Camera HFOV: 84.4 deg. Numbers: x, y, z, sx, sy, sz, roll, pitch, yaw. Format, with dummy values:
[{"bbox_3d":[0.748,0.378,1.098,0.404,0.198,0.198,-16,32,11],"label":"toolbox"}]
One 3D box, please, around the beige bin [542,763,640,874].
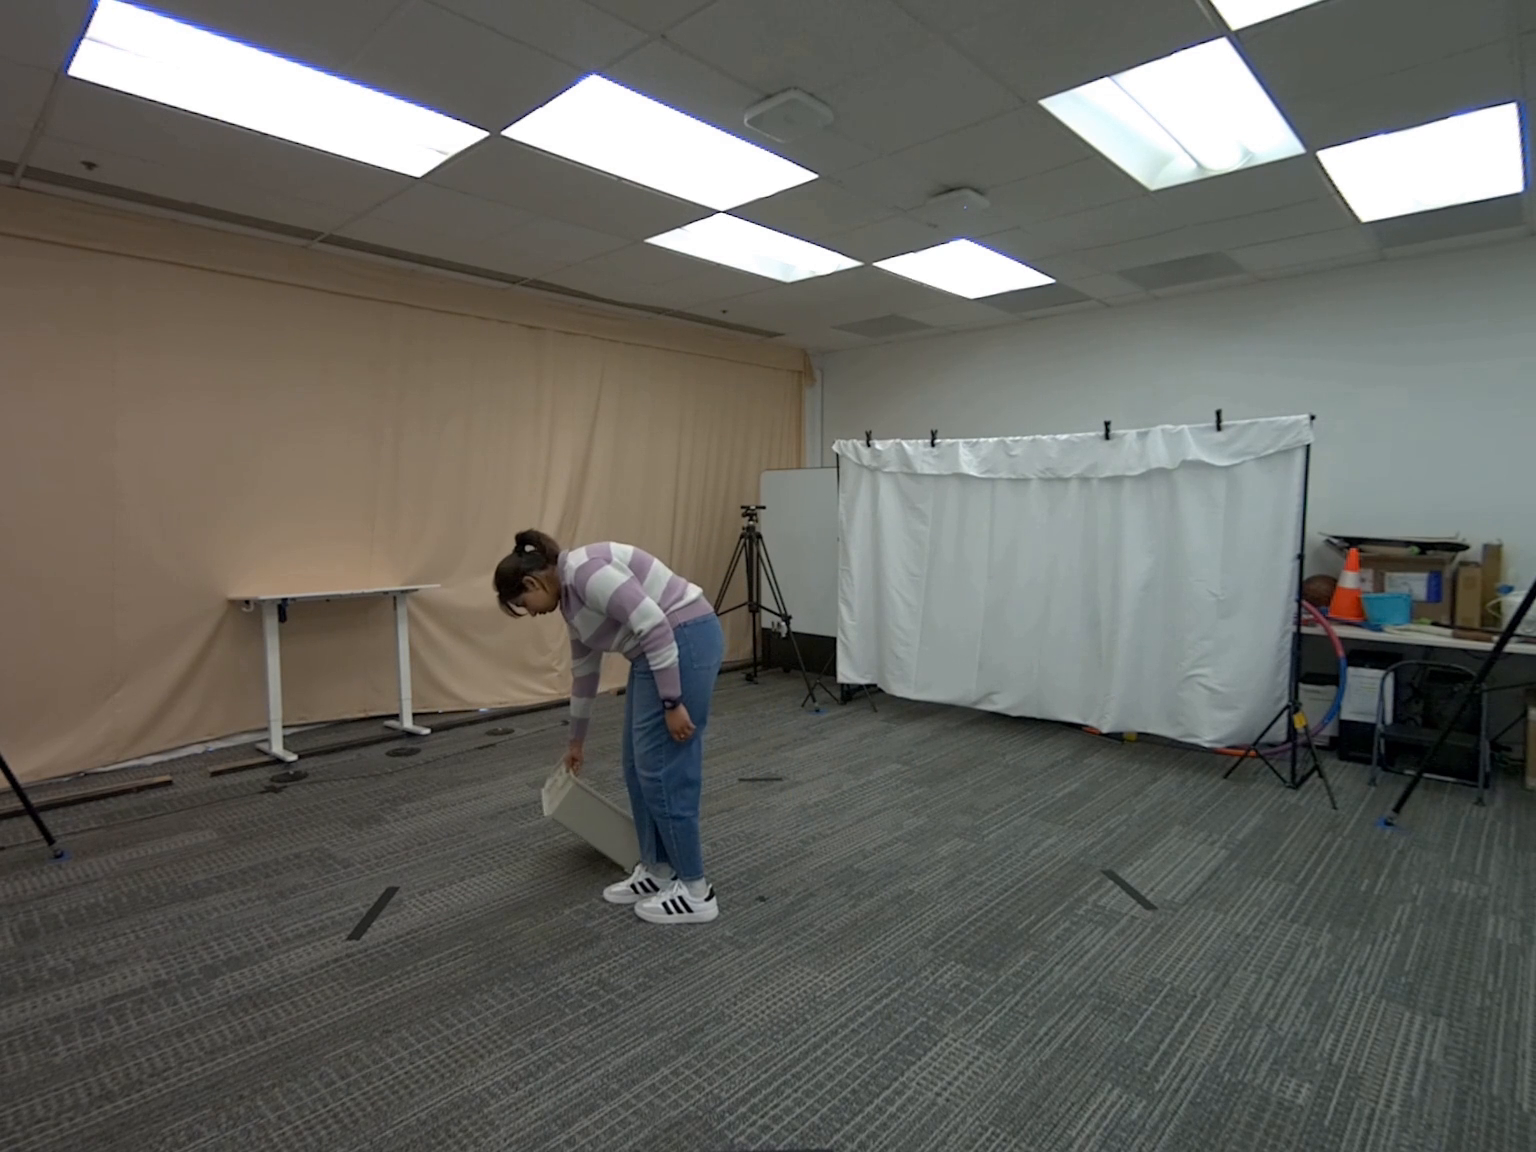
[{"bbox_3d":[-0.672,0.923,3.309,0.415,0.189,0.384,39,-6,-15],"label":"beige bin"}]
